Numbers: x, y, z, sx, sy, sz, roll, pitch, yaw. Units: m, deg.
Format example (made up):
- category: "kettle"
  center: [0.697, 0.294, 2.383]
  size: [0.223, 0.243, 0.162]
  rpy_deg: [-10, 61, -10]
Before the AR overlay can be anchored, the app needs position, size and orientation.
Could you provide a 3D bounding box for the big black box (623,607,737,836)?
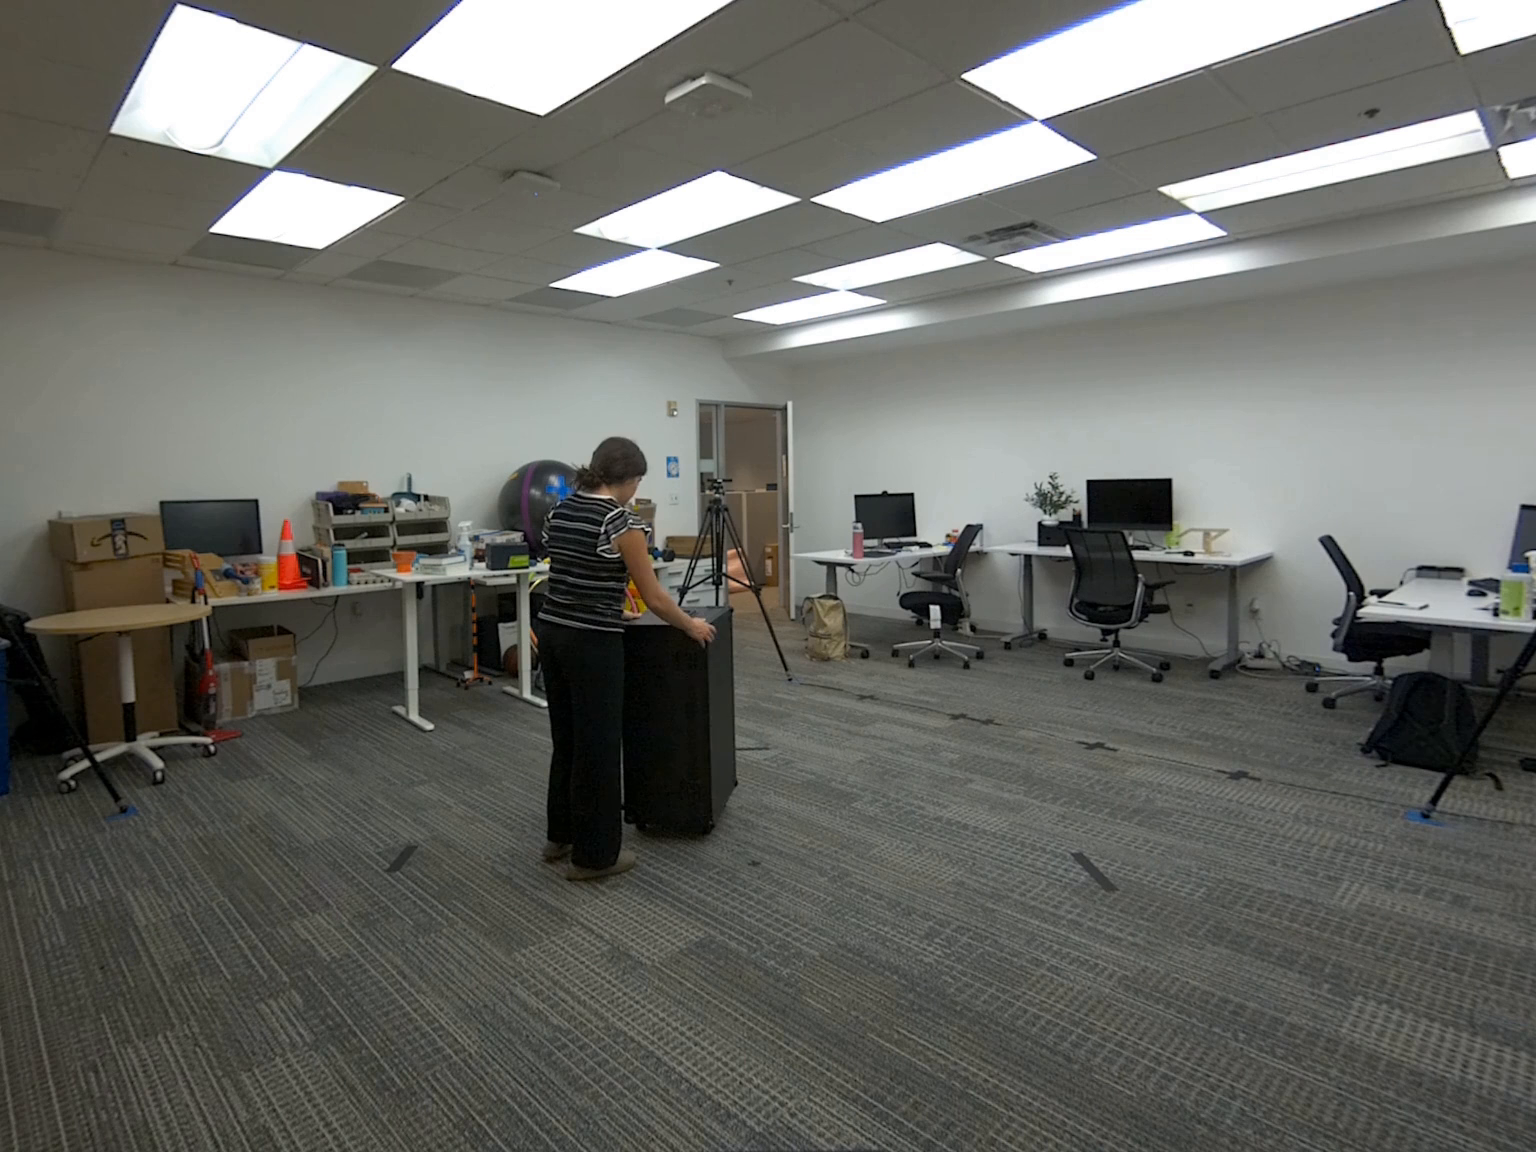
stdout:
- category: "big black box"
  center: [-0.362, 0.584, 3.496]
  size: [0.401, 0.858, 0.517]
  rpy_deg: [-1, 5, 11]
